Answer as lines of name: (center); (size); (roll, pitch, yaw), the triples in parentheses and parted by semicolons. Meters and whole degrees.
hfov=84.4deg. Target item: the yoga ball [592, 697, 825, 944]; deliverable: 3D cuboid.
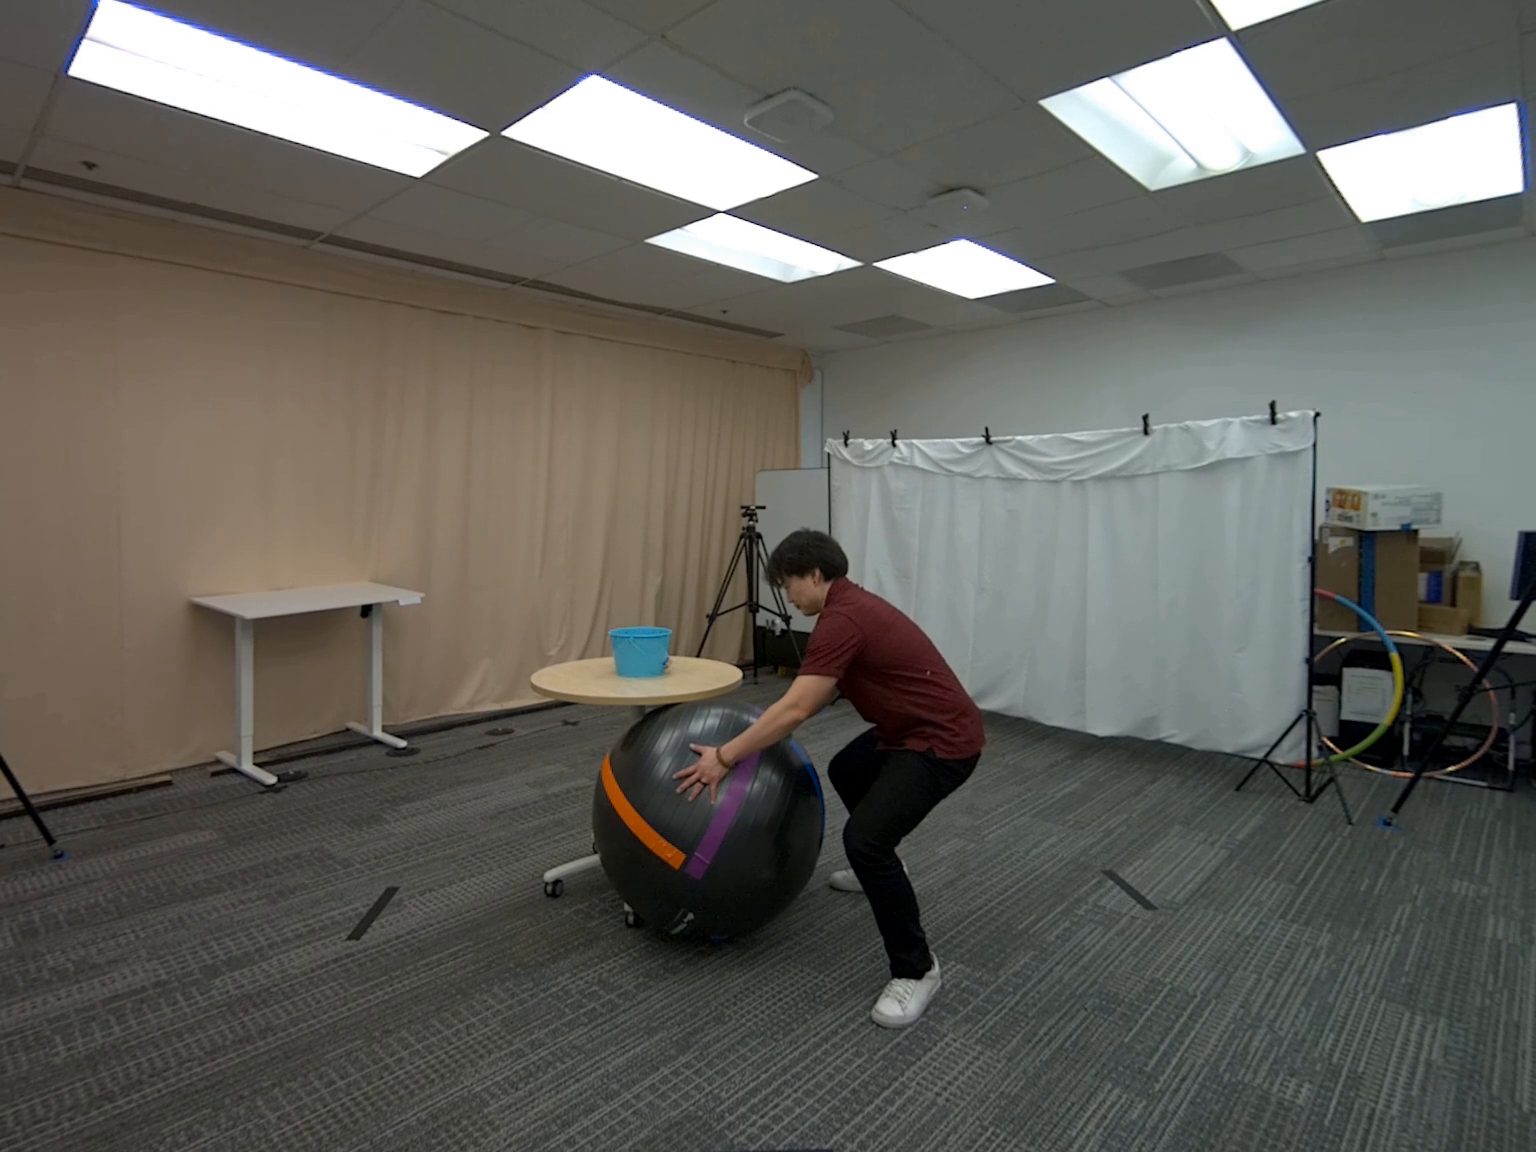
yoga ball: (-0.186, 0.789, 2.756); (0.757, 0.756, 0.761); (0, 4, -2)
